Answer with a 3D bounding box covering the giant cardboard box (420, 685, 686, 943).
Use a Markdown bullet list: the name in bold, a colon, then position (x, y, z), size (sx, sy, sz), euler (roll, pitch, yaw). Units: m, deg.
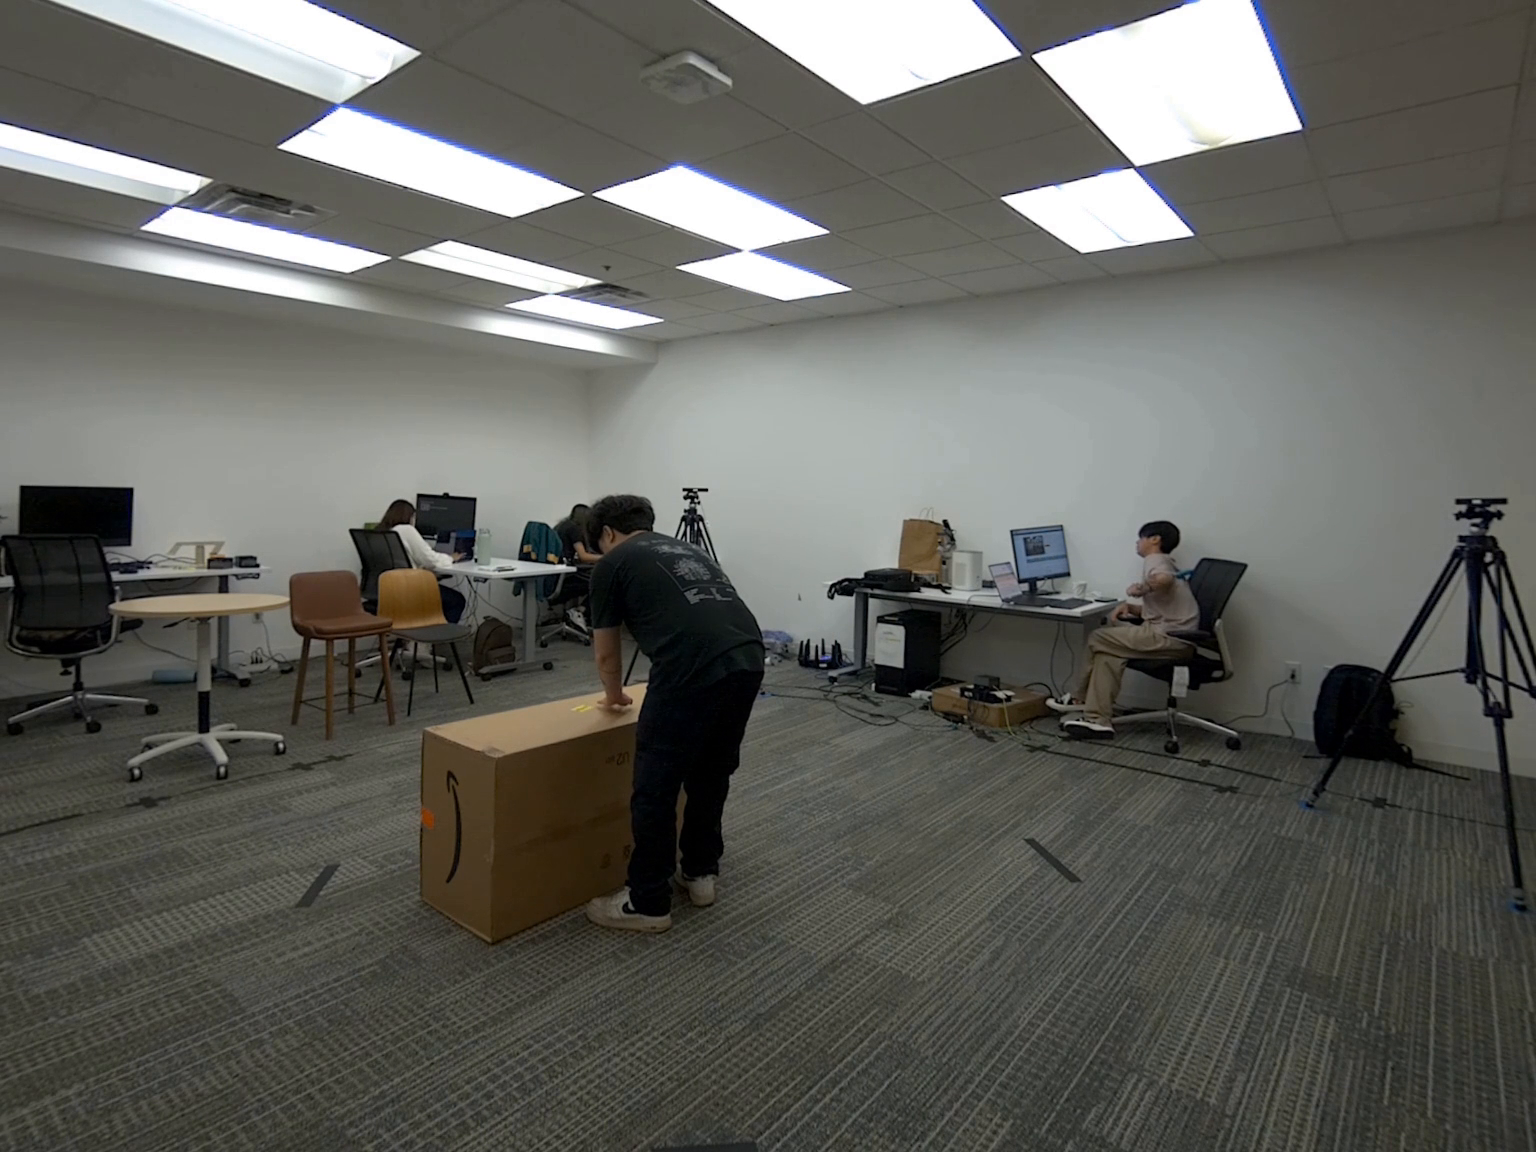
- **giant cardboard box**: position (-0.689, 0.780, 3.072), size (0.461, 0.582, 0.996), euler (3, 4, 39)
